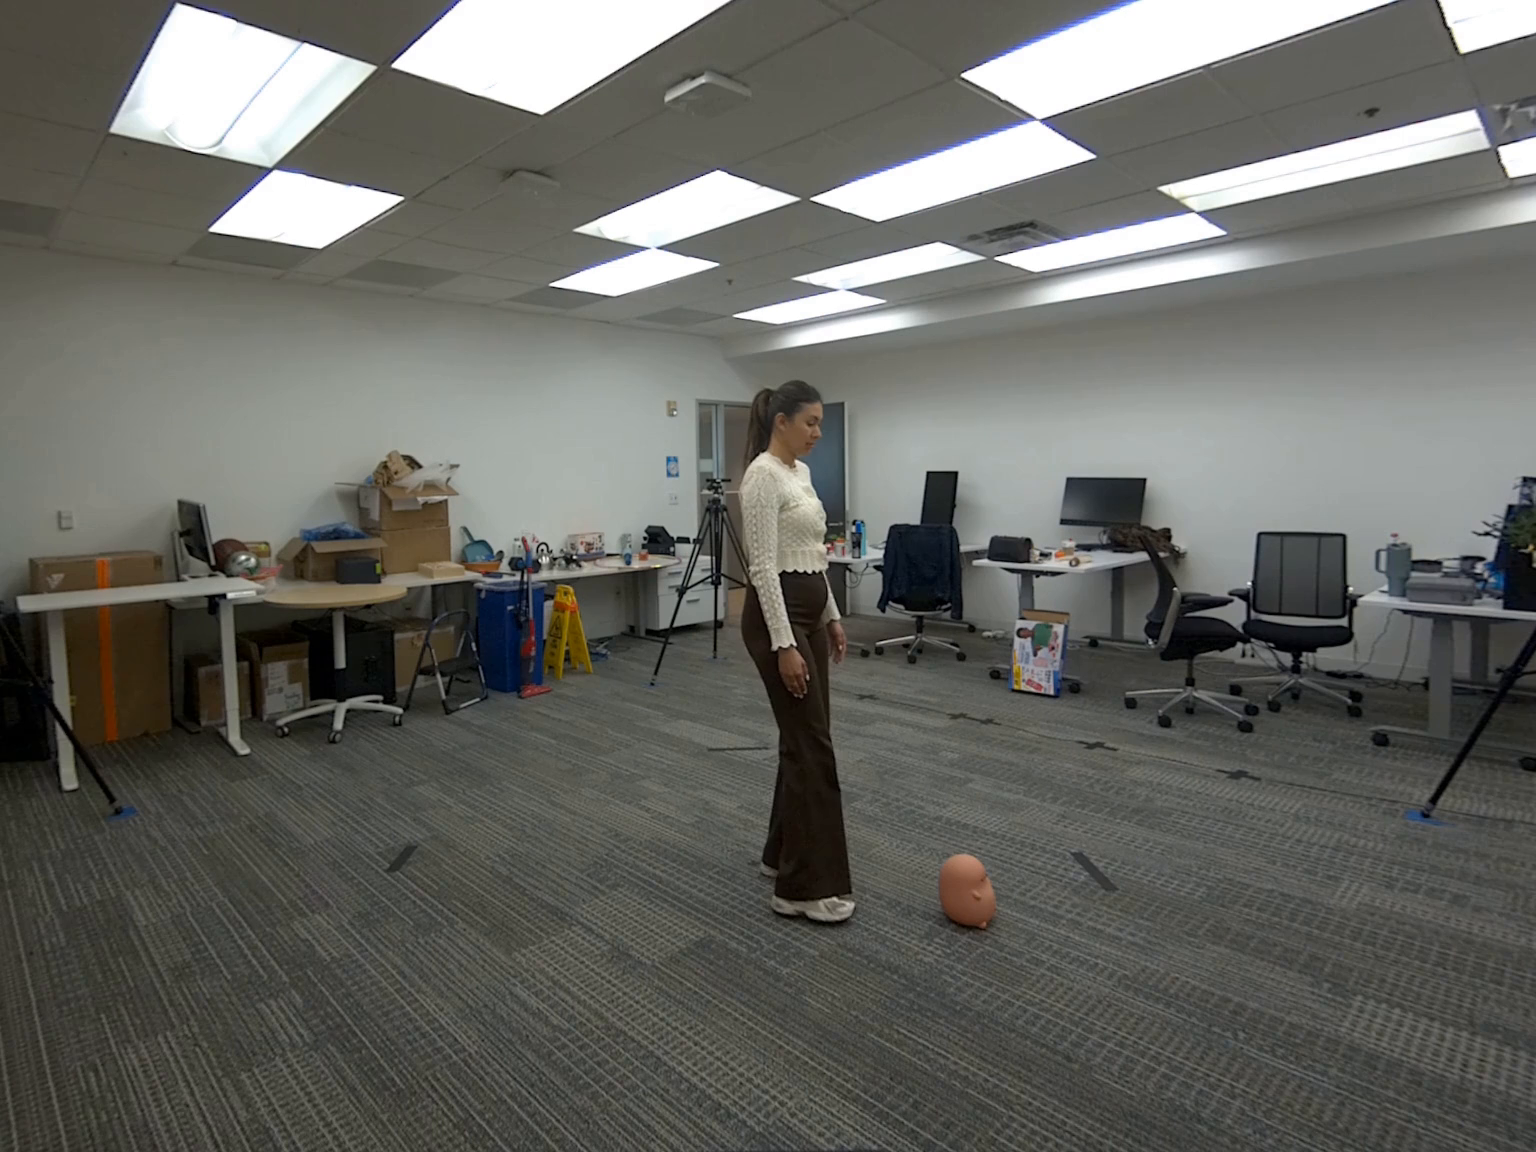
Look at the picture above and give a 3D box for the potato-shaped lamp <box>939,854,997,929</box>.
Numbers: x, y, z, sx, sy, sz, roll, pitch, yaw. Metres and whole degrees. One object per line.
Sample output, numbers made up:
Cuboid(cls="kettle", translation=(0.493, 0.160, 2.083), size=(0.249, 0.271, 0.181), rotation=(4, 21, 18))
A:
Cuboid(cls="potato-shaped lamp", translation=(0.626, 0.977, 2.686), size=(0.176, 0.197, 0.161), rotation=(2, 6, 34))
